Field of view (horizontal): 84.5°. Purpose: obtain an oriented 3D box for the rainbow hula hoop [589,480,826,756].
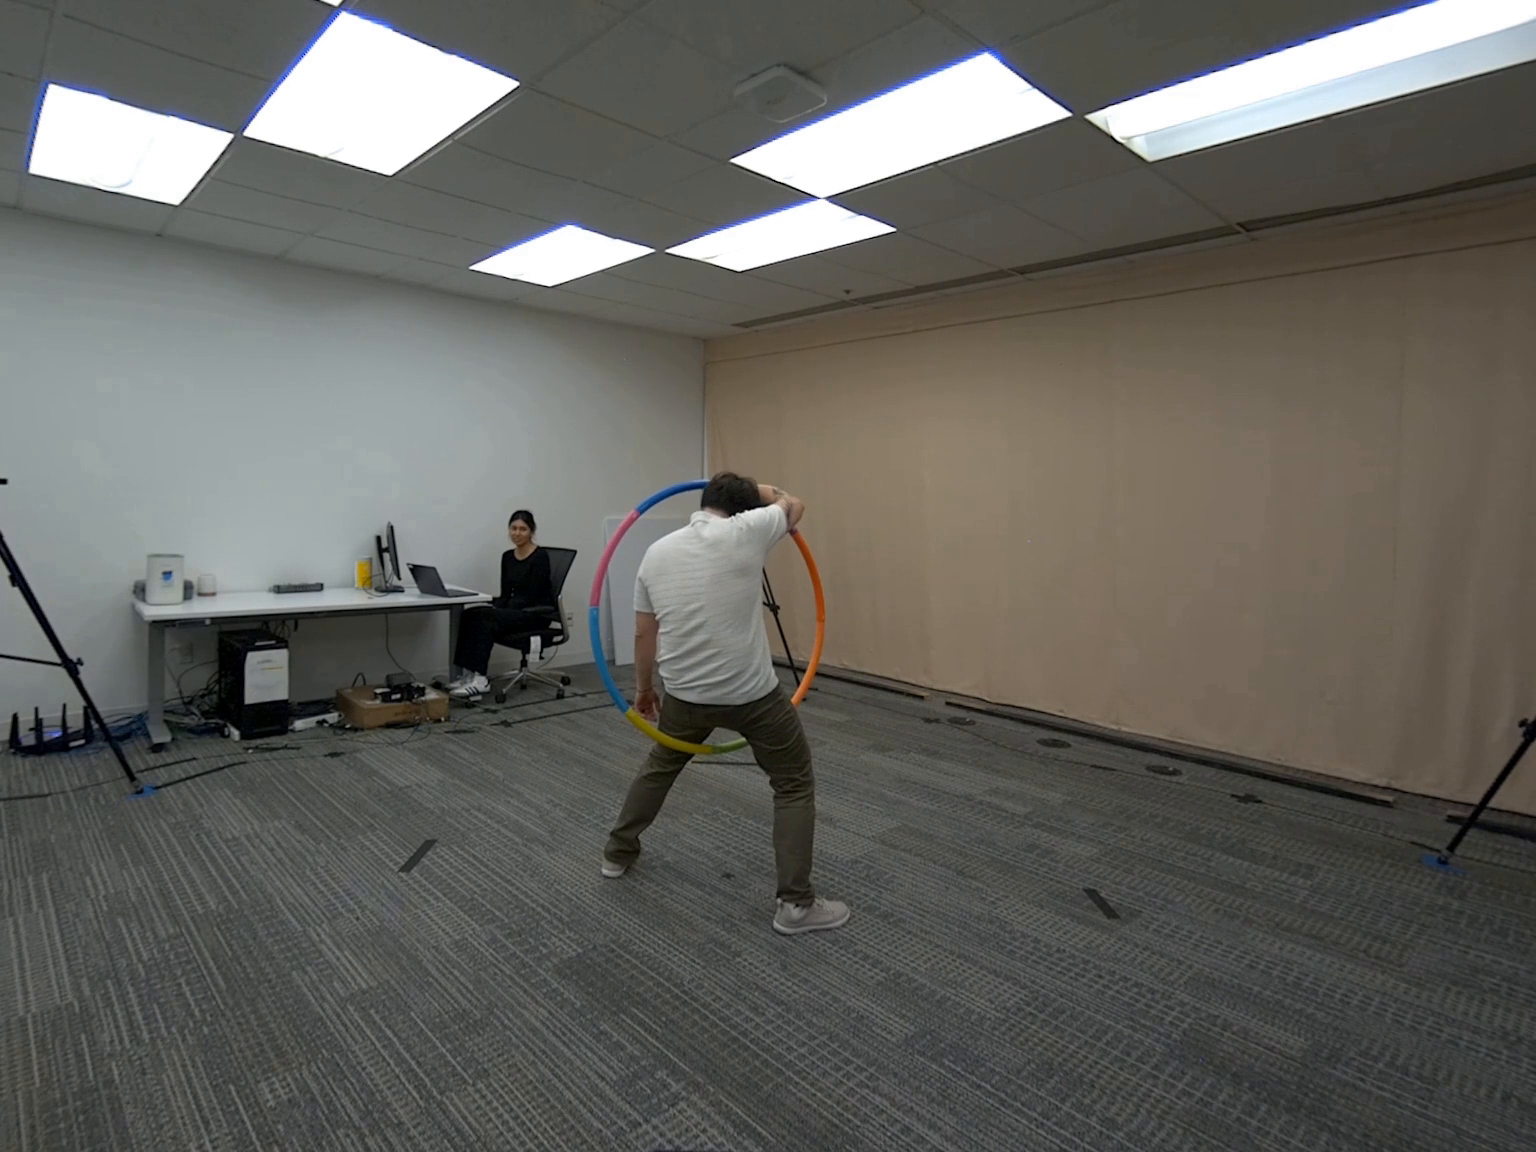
[{"bbox_3d":[-0.193,0.139,3.057,0.958,0.981,0.036,-1,-4,-32],"label":"rainbow hula hoop"}]
